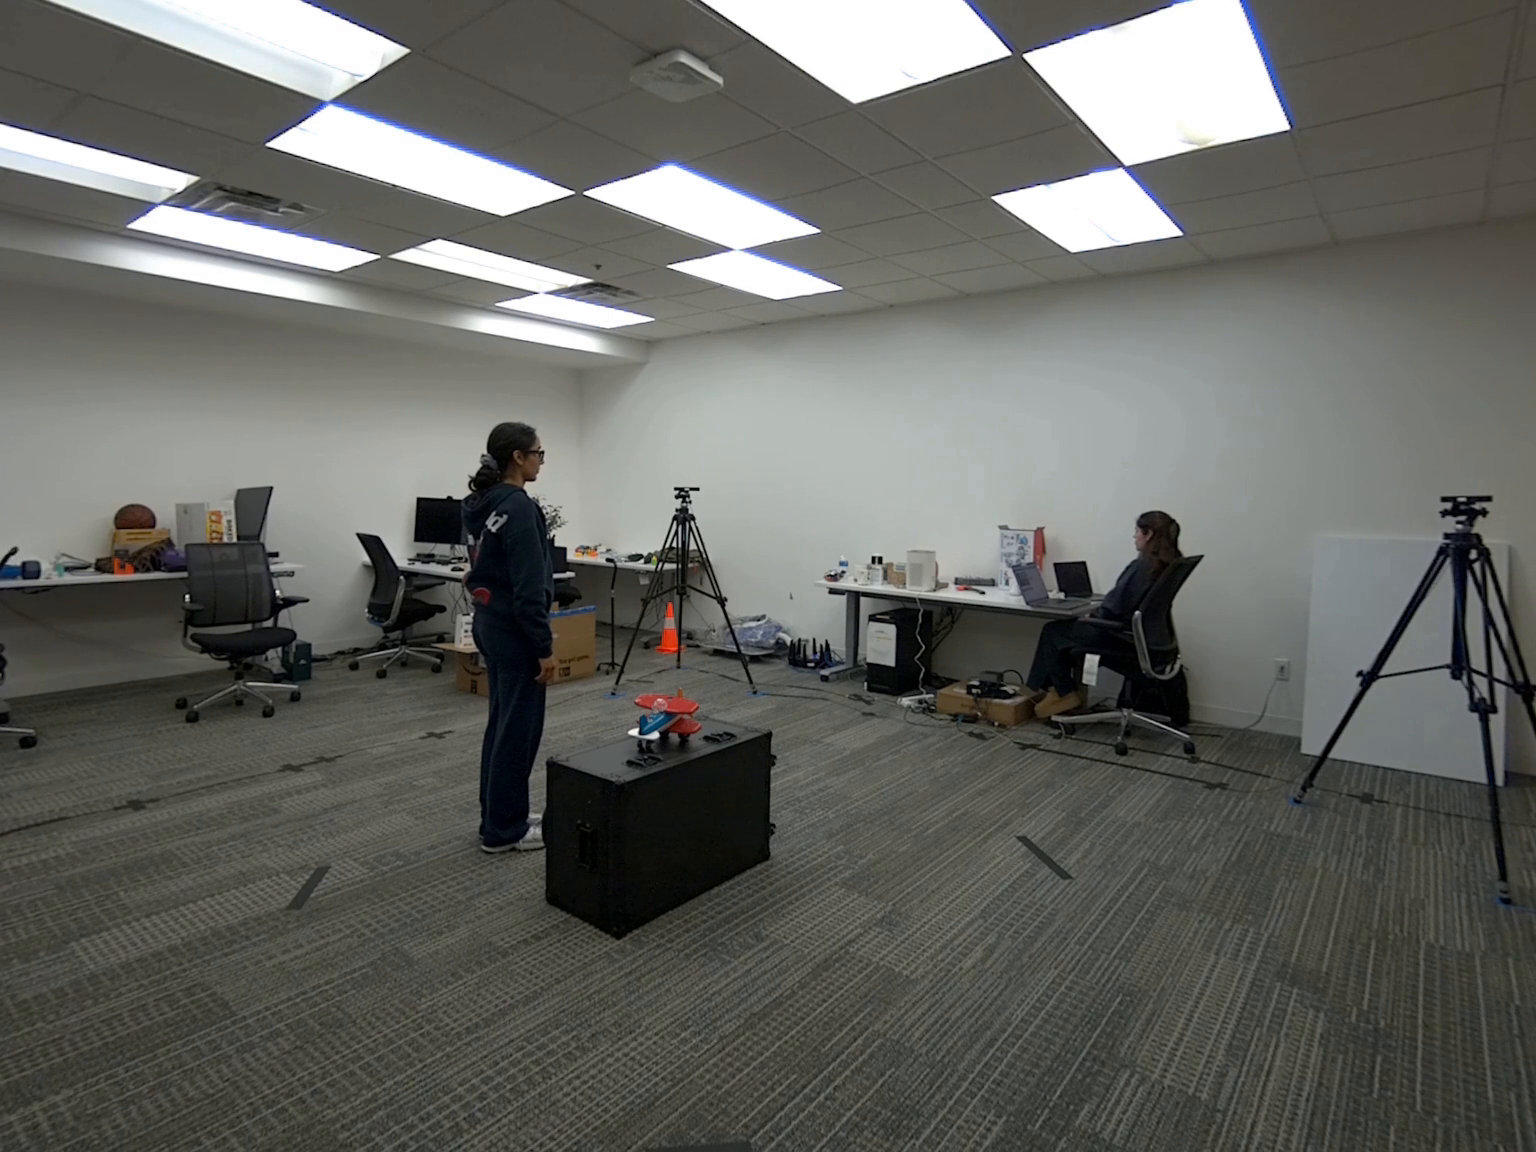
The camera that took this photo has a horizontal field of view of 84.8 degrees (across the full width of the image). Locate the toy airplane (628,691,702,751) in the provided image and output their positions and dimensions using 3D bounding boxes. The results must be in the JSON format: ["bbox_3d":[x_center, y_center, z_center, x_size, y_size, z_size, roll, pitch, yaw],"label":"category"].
[{"bbox_3d":[-0.361,0.516,3.001,0.252,0.156,0.259,2,4,1],"label":"toy airplane"}]
